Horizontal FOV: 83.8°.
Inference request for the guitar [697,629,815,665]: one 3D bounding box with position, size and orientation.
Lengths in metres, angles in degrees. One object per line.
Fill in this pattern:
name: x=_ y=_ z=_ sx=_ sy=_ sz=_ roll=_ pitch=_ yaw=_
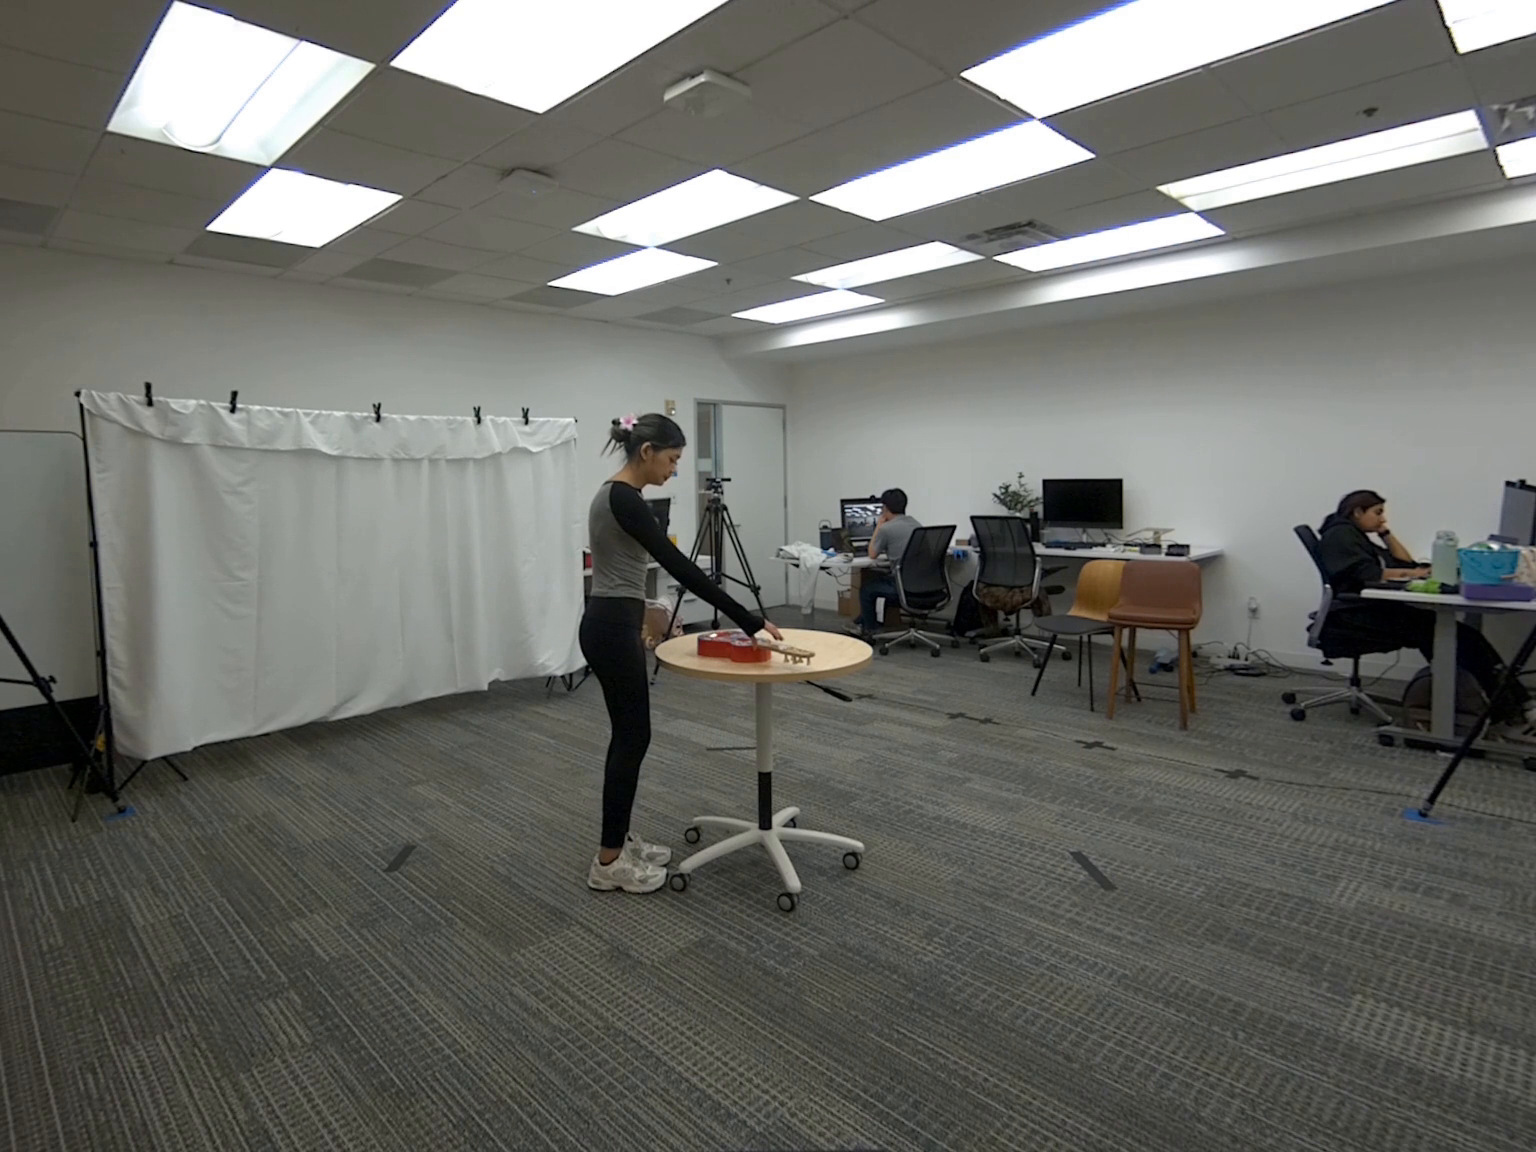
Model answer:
guitar: x=-0.059 y=0.253 z=2.814 sx=0.188 sy=0.070 sz=0.512 roll=-6 pitch=9 yaw=-32
